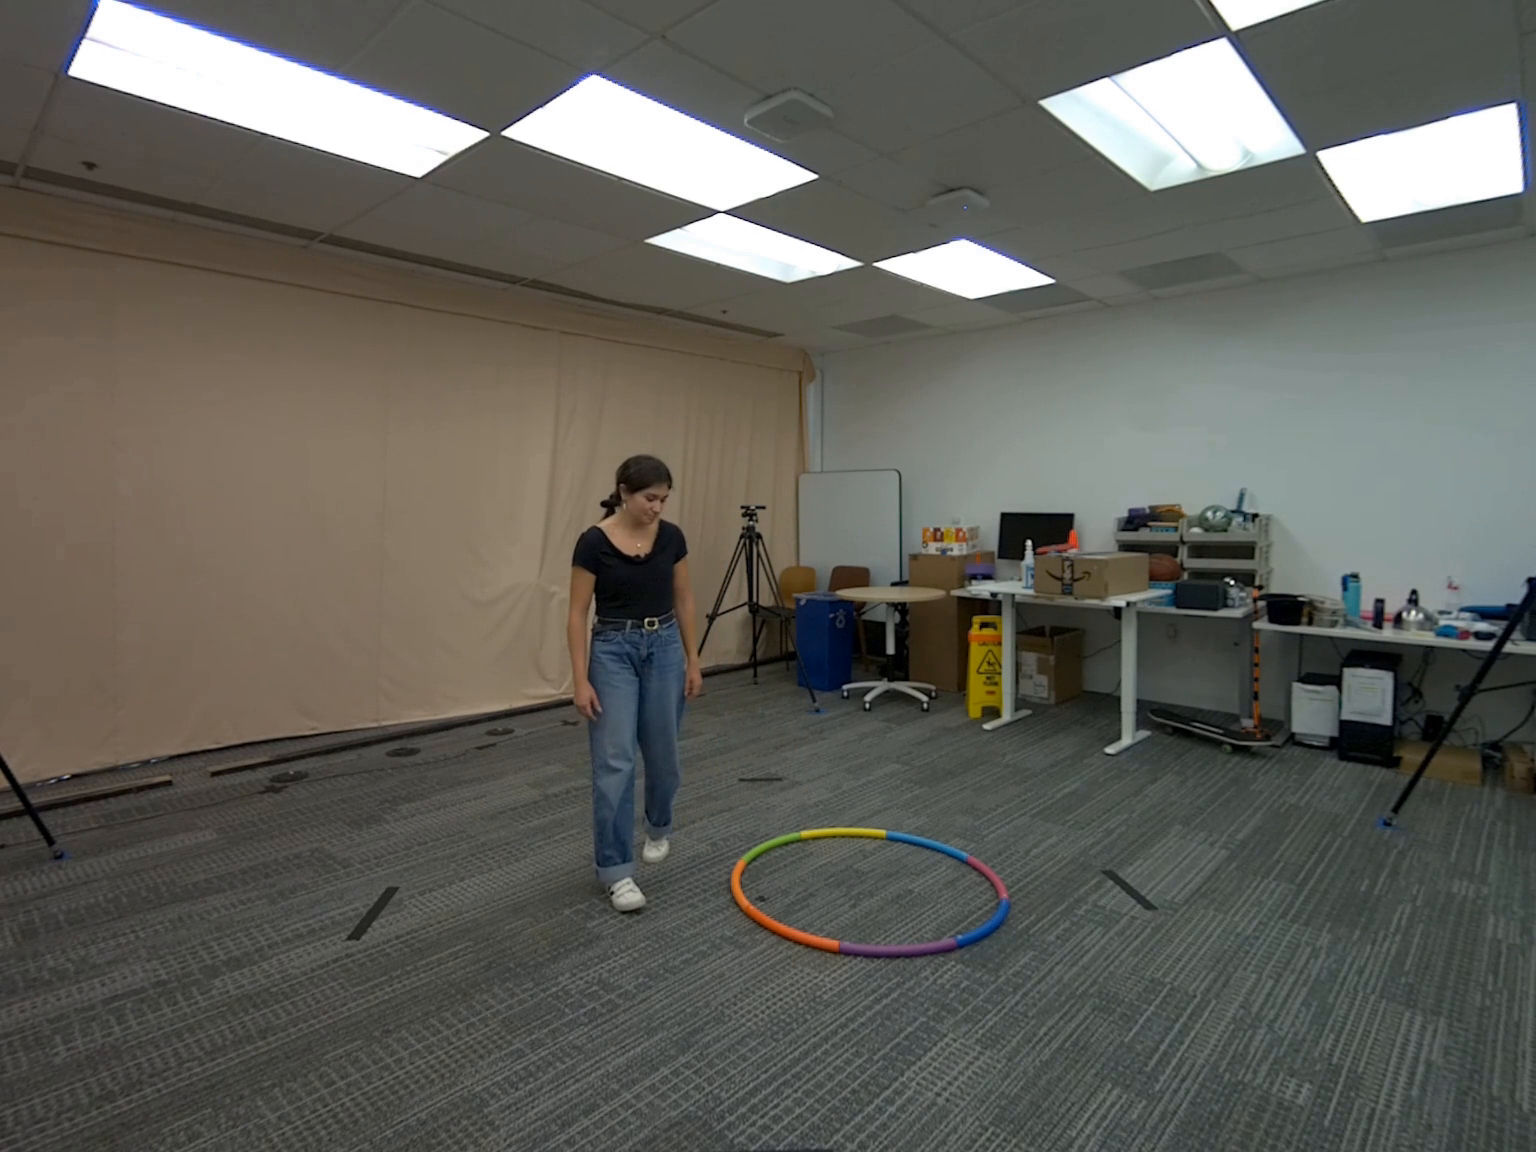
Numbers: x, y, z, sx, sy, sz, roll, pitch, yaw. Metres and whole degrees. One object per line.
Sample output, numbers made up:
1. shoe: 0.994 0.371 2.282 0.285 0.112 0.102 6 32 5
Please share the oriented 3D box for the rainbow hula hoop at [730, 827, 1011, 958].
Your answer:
1. rainbow hula hoop: 0.364 1.105 3.071 0.978 0.035 0.982 0 5 -2
